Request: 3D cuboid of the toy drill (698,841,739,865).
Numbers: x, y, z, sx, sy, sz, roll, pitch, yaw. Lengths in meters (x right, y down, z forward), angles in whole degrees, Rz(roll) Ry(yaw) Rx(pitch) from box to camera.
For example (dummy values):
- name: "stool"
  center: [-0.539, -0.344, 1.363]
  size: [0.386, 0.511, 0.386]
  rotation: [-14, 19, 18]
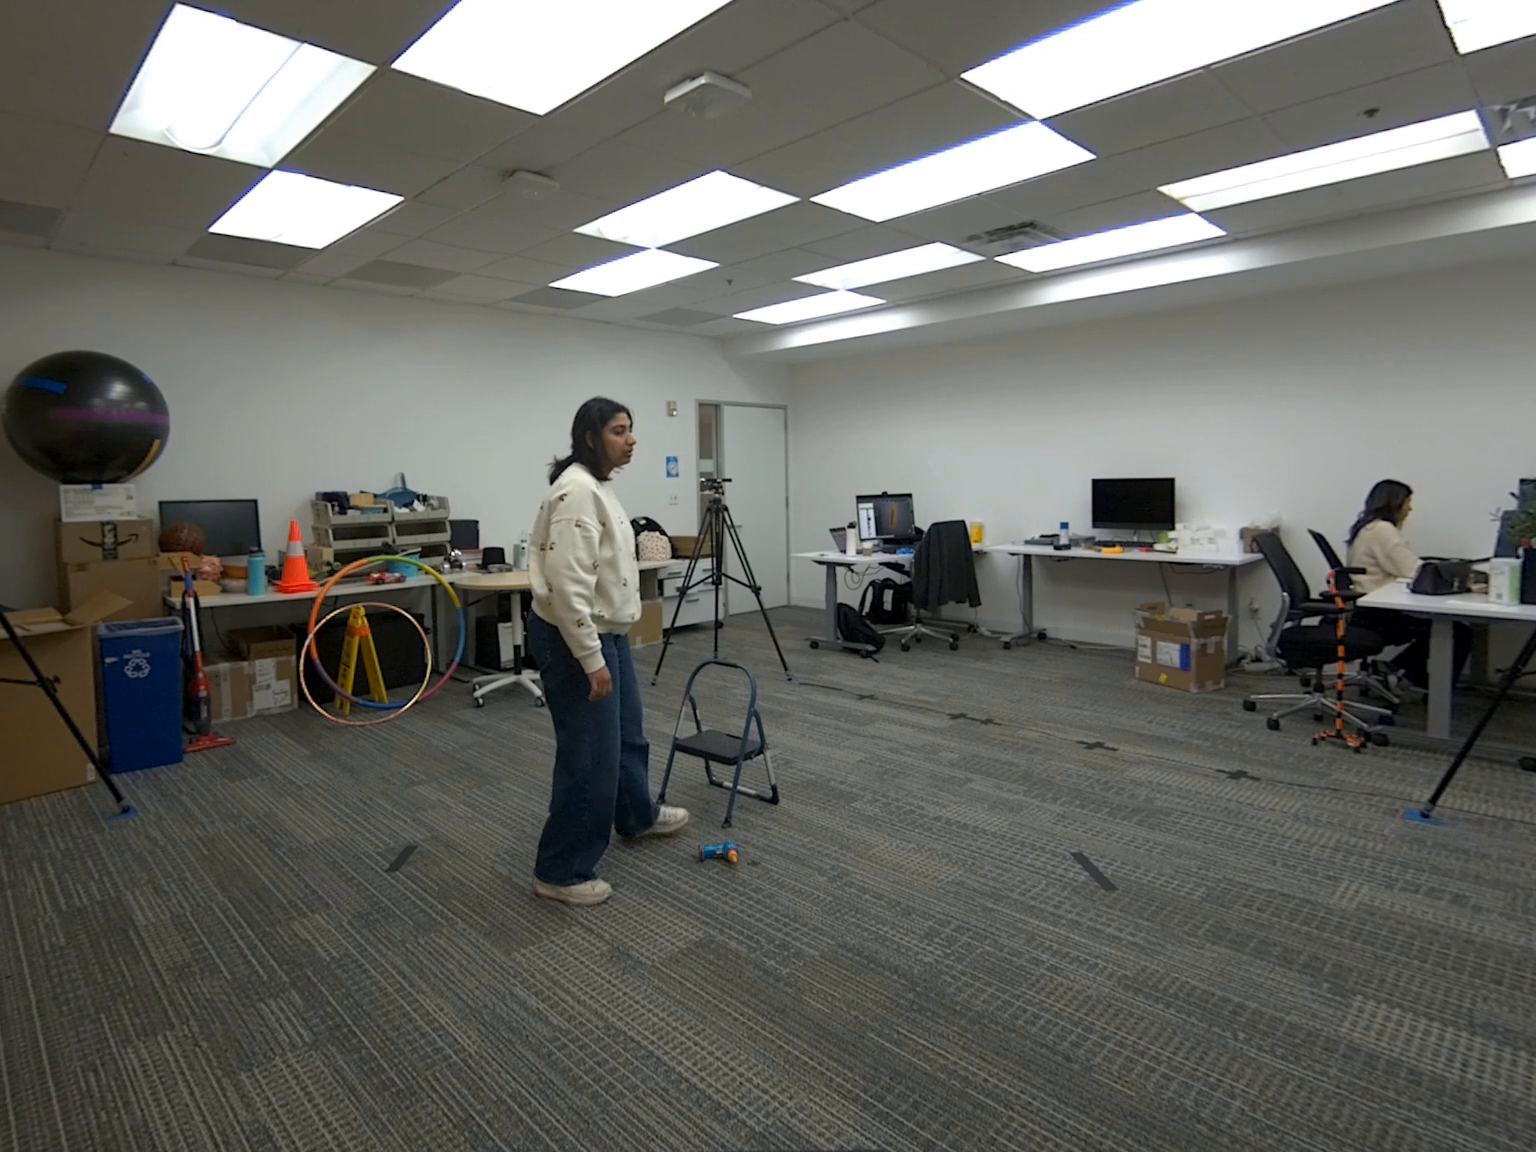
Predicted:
- name: "toy drill"
  center: [-0.186, 1.023, 3.127]
  size: [0.145, 0.061, 0.172]
  rotation: [-4, 6, -11]
